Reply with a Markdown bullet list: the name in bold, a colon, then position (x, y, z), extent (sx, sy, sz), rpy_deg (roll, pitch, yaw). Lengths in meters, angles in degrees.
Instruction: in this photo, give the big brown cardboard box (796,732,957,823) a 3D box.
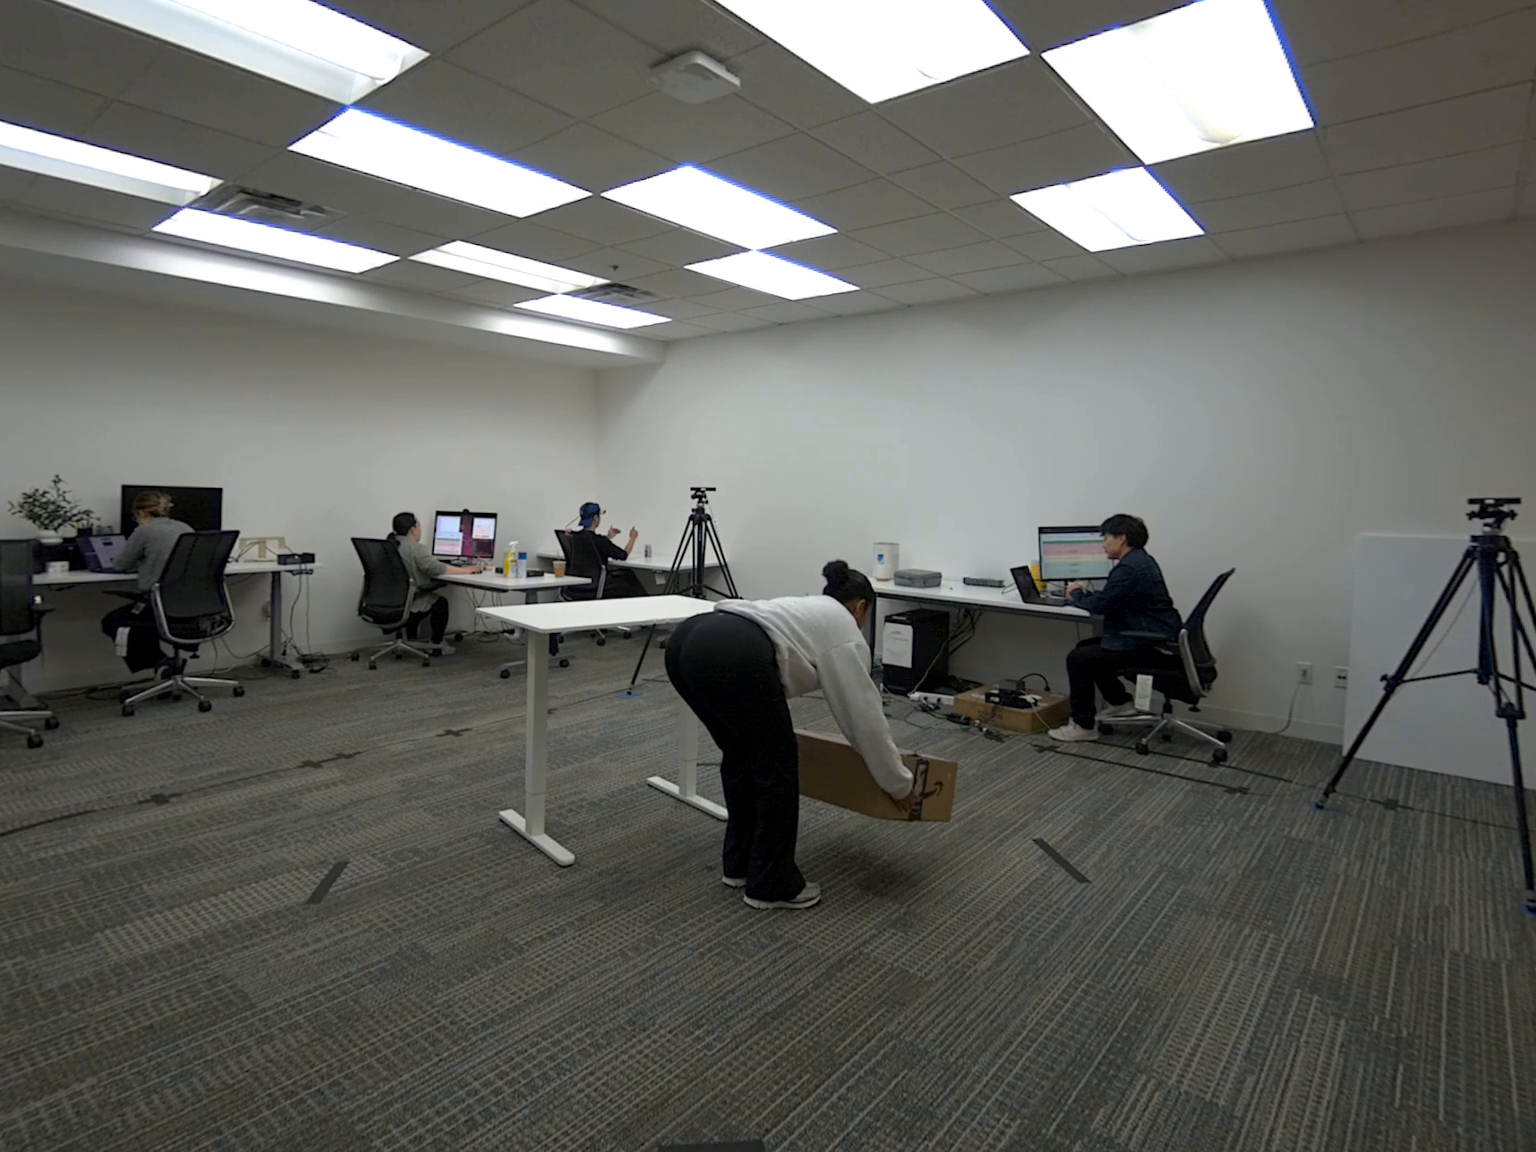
- **big brown cardboard box**: position (0.332, 0.723, 3.174), extent (0.402, 0.235, 0.608), rpy_deg (16, -10, -40)
